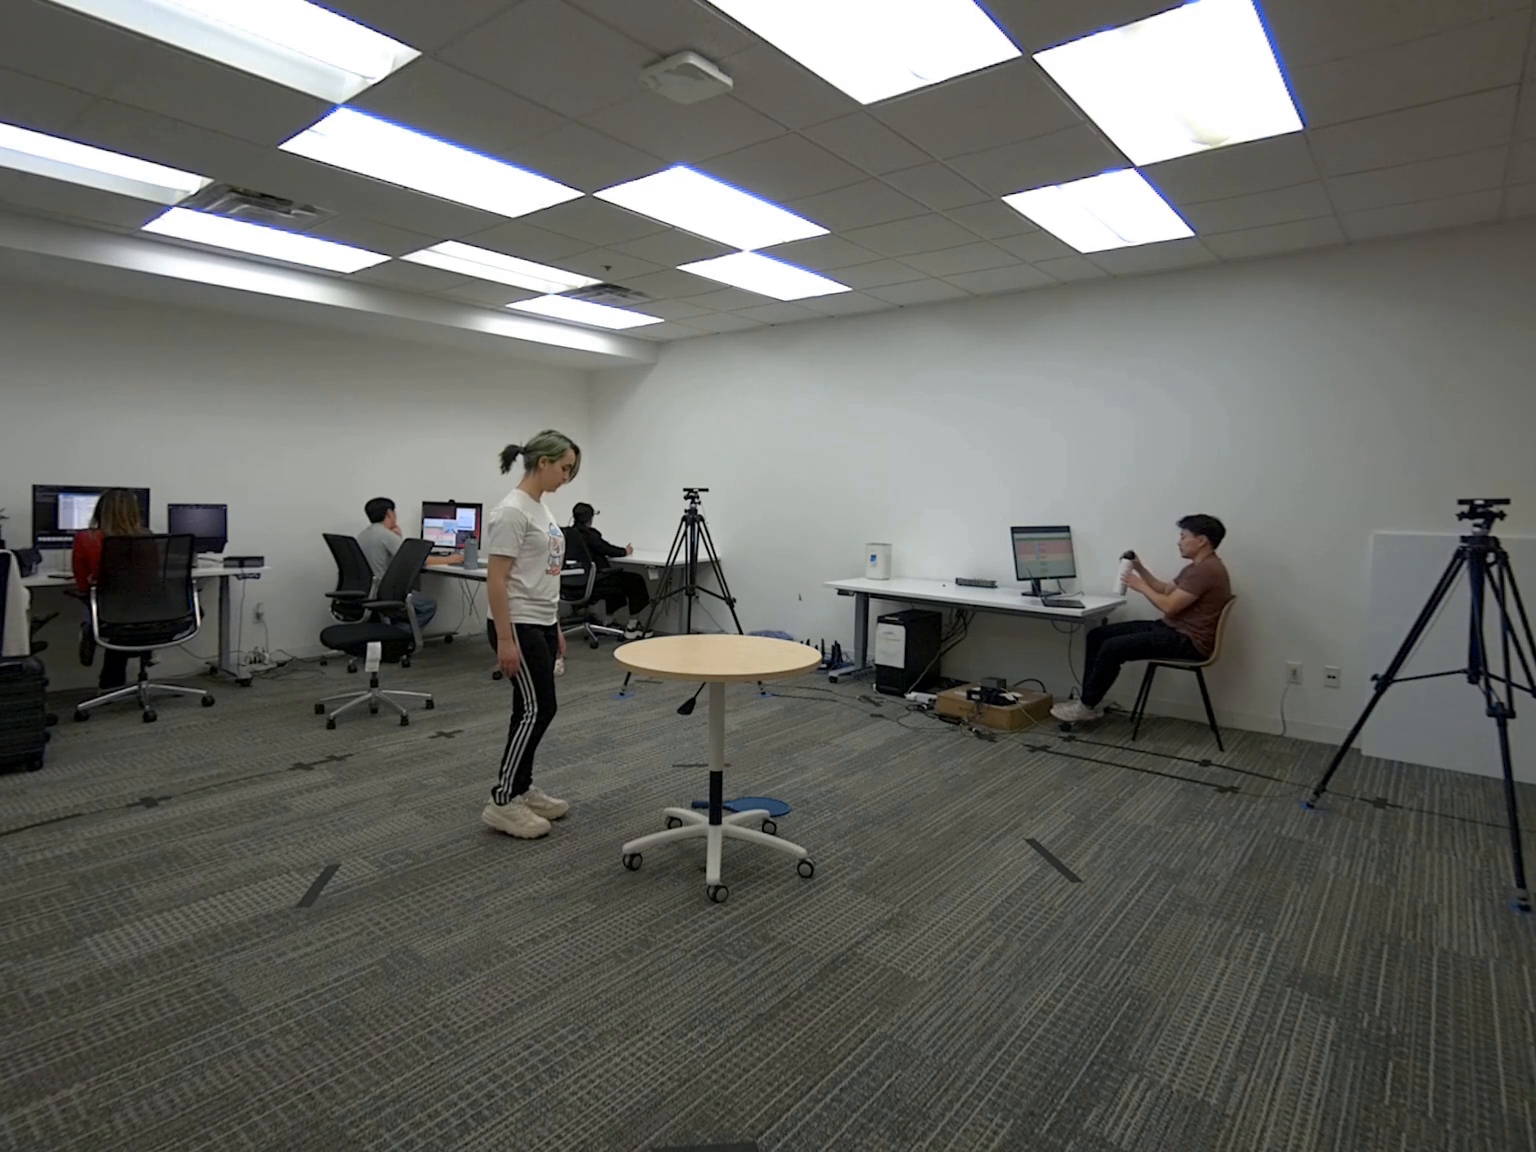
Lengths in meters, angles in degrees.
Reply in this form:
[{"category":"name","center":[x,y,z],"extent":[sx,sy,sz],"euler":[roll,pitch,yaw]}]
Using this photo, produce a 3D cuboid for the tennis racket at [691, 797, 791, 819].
[{"category":"tennis racket","center":[-0.127,0.999,3.703],"extent":[0.432,0.031,0.215],"euler":[2,6,-2]}]
